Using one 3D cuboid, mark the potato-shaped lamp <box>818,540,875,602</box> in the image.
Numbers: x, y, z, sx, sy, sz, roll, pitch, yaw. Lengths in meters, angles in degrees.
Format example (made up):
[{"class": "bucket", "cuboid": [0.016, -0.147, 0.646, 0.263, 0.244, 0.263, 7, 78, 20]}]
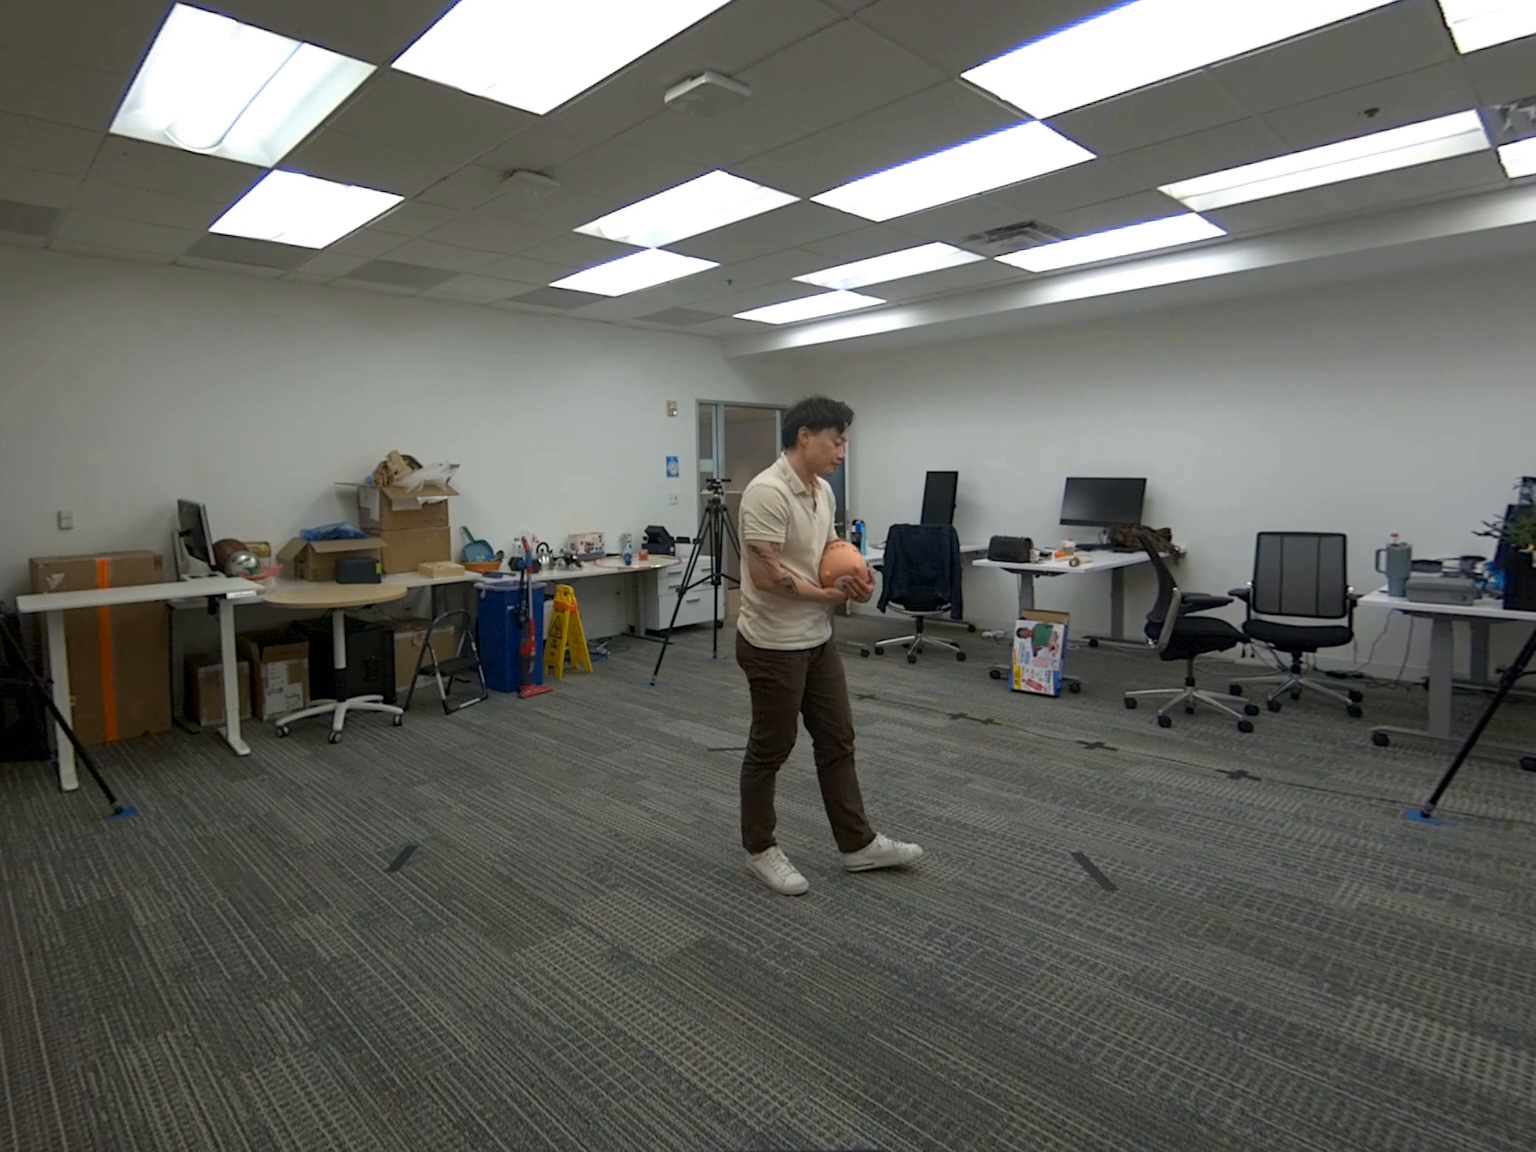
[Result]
[{"class": "potato-shaped lamp", "cuboid": [0.251, -0.031, 2.934, 0.166, 0.165, 0.204, -16, 42, 9]}]
